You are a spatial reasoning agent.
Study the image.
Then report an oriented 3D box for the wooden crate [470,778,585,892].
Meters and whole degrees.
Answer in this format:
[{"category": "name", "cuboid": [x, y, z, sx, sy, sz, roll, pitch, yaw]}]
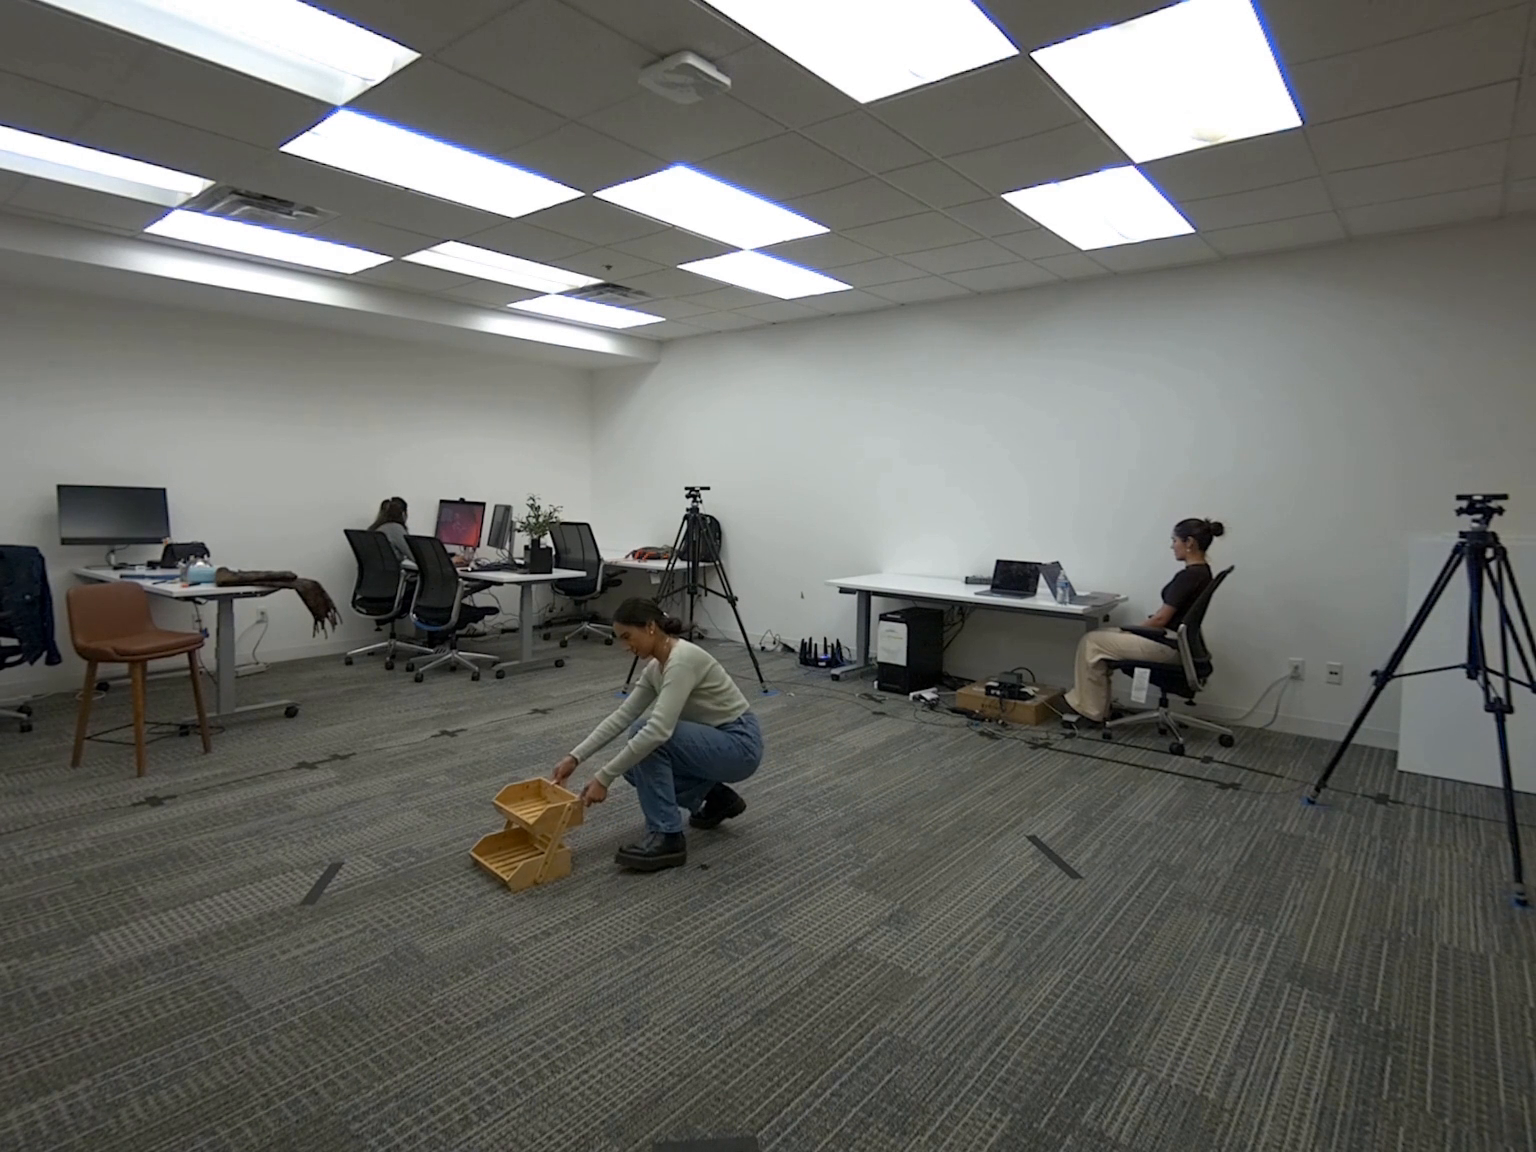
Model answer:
[{"category": "wooden crate", "cuboid": [-0.893, 0.925, 3.090, 0.293, 0.272, 0.336, -3, 6, -44]}]
